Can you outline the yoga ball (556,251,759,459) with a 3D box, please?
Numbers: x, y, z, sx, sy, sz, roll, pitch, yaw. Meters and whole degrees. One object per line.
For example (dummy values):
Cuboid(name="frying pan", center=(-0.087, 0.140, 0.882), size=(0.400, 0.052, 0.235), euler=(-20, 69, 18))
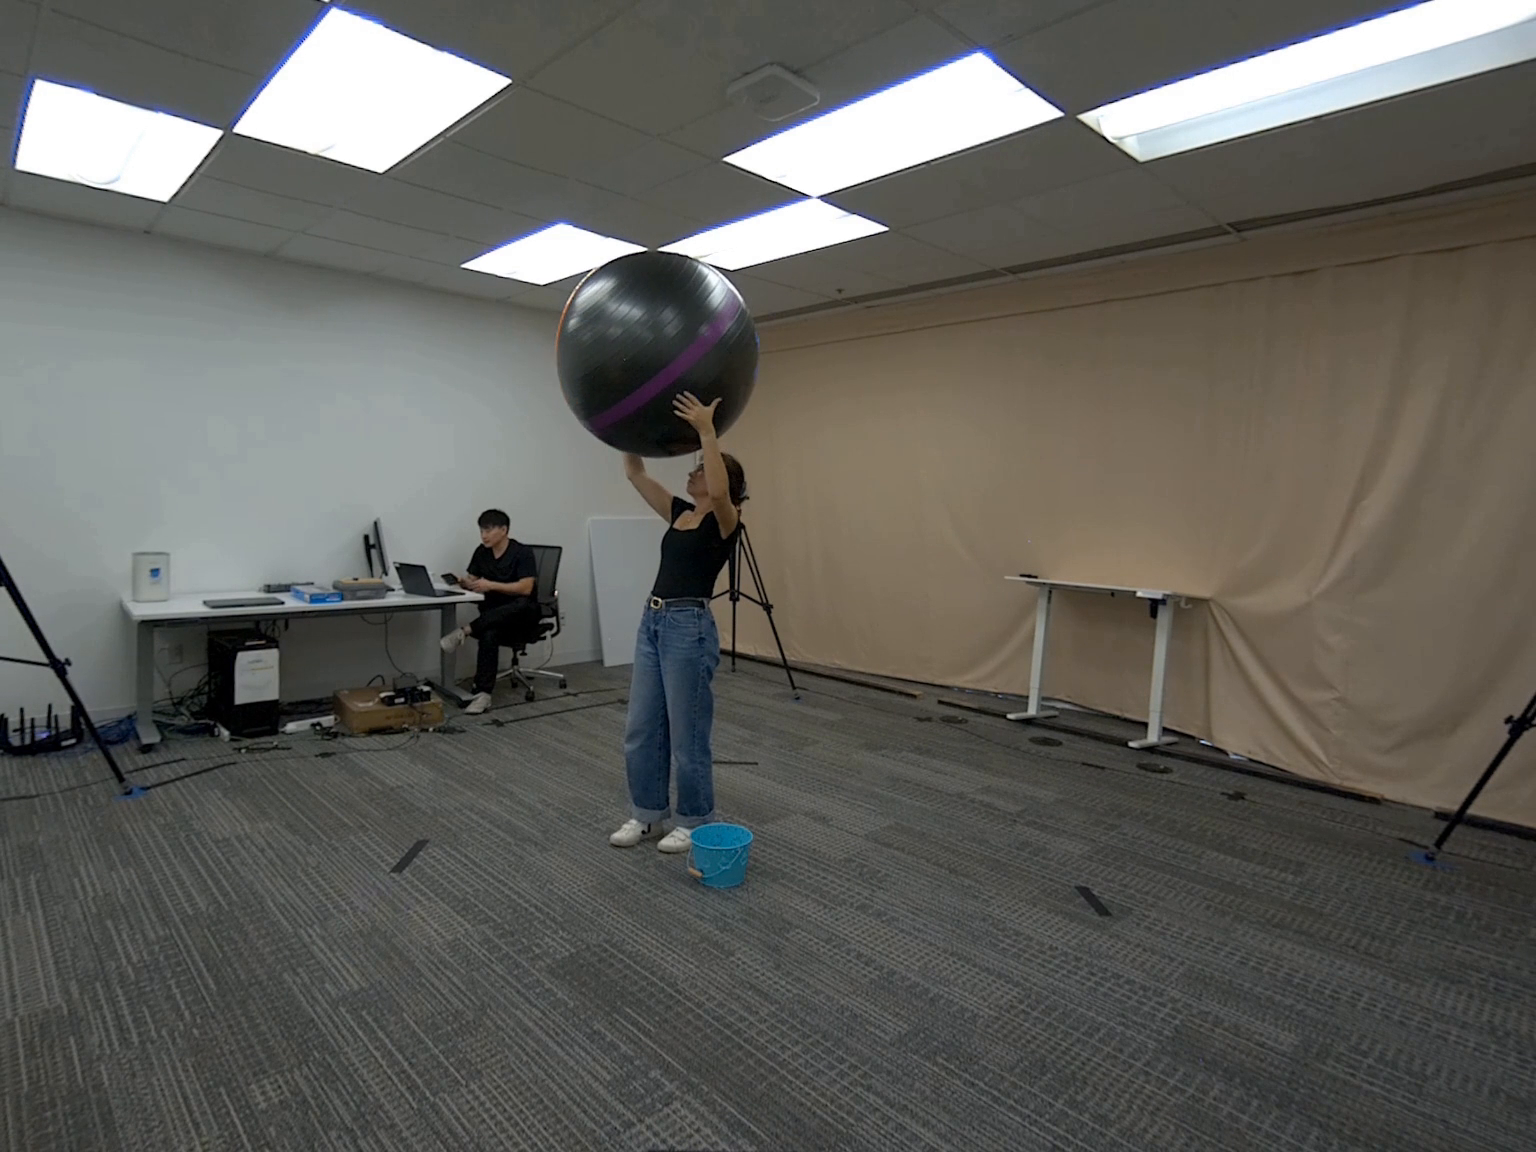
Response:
Cuboid(name="yoga ball", center=(-0.423, -0.821, 3.167), size=(0.757, 0.756, 0.761), euler=(1, 4, -1))
